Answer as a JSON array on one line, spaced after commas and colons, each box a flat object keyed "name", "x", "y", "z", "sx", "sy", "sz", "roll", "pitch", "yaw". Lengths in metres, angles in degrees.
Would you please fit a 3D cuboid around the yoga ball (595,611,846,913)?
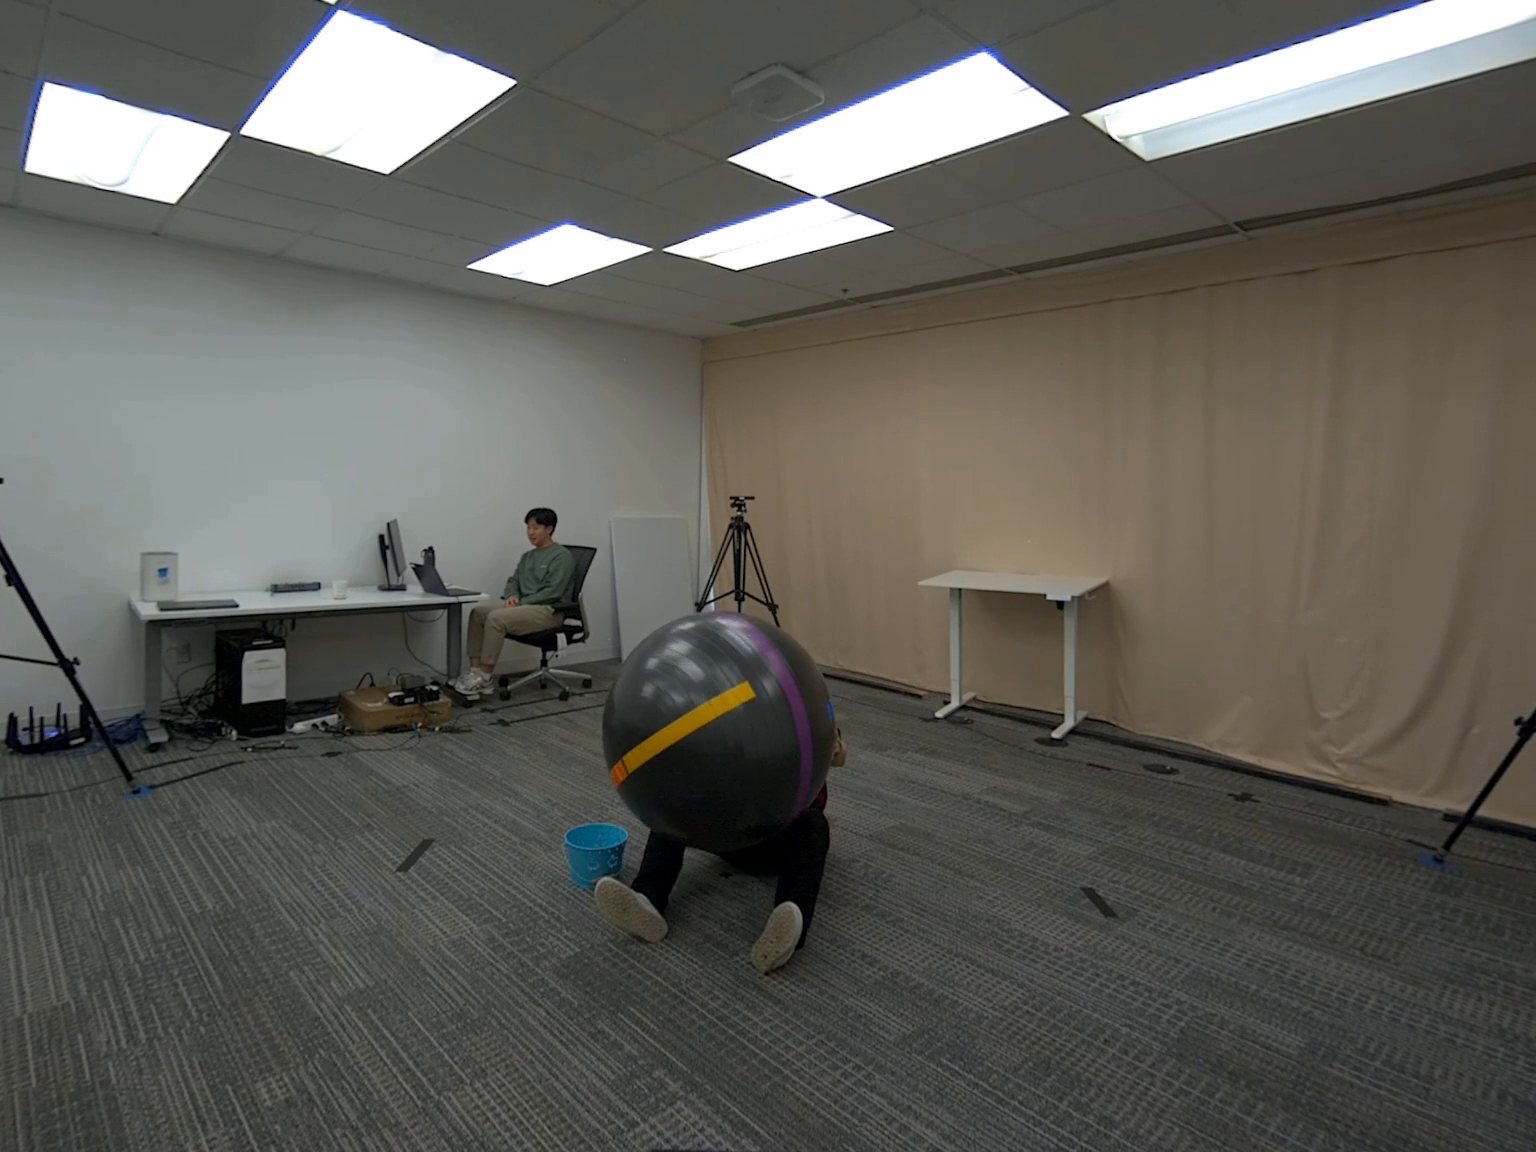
[{"name": "yoga ball", "x": -0.153, "y": 0.506, "z": 2.745, "sx": 0.757, "sy": 0.756, "sz": 0.761, "roll": 1, "pitch": 4, "yaw": -1}]
